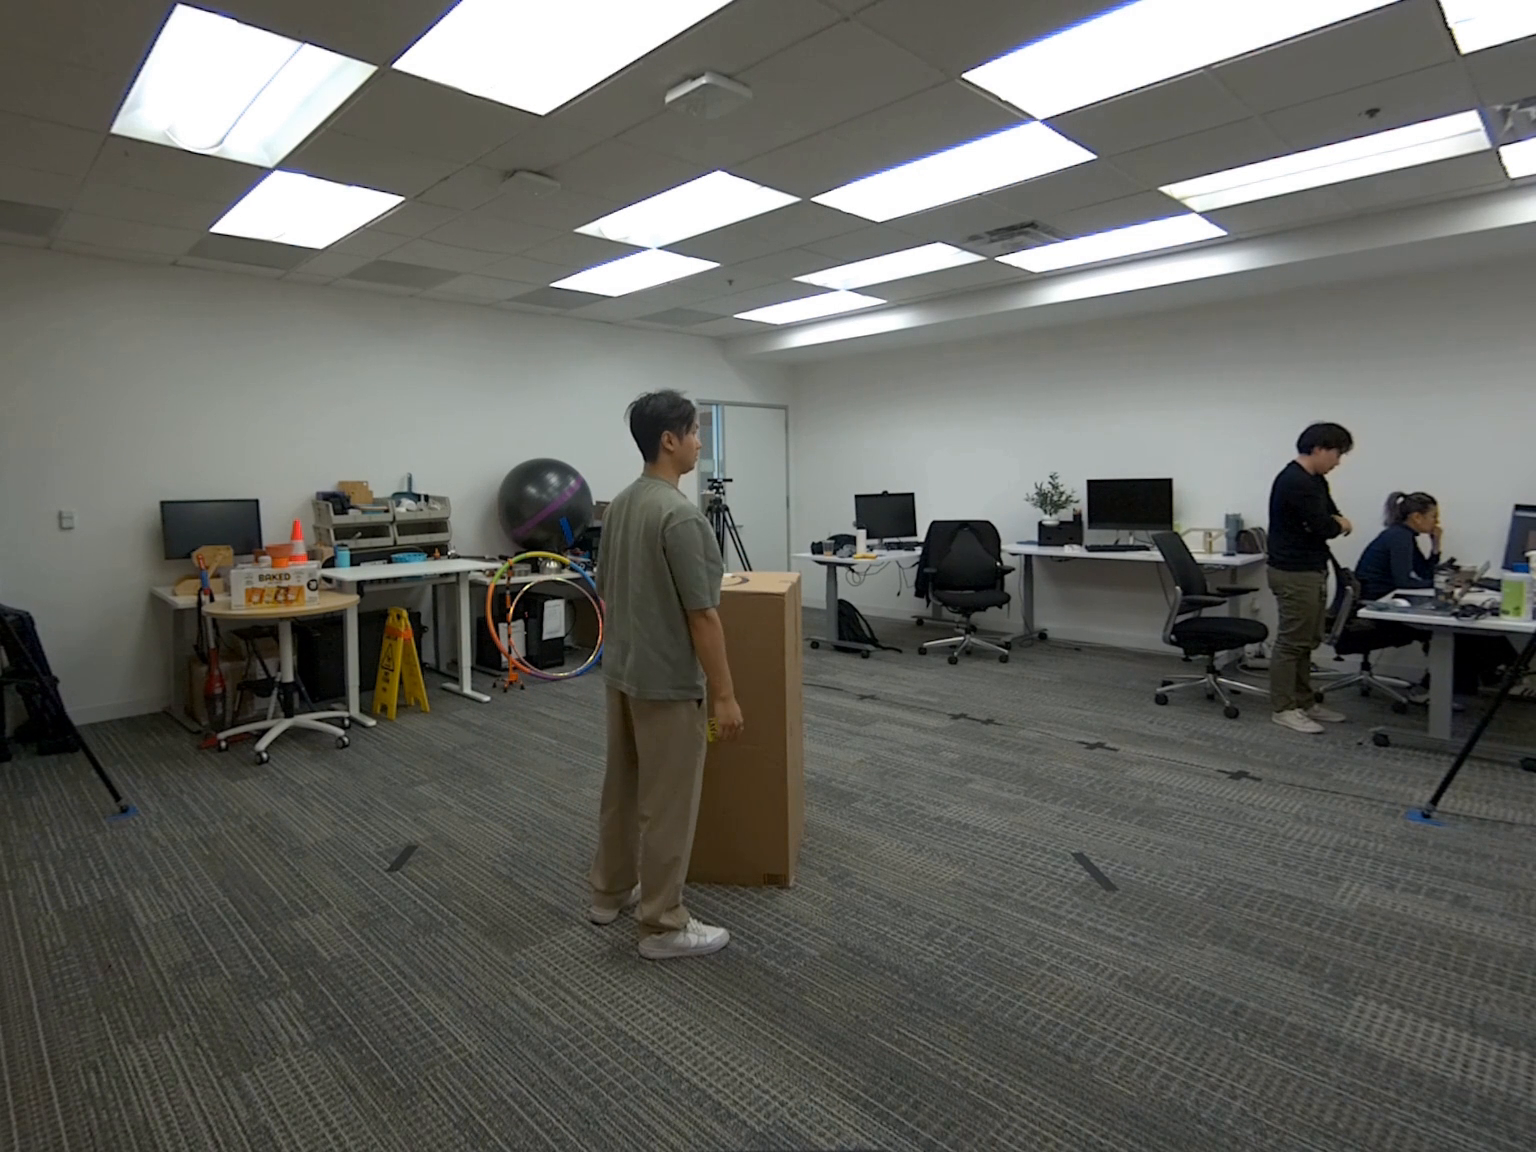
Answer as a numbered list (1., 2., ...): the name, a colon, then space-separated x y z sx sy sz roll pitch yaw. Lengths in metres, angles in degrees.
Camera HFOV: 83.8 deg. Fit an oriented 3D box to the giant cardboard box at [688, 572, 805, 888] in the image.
1. giant cardboard box: -0.105 0.525 3.196 0.430 1.022 0.575 0 4 8
